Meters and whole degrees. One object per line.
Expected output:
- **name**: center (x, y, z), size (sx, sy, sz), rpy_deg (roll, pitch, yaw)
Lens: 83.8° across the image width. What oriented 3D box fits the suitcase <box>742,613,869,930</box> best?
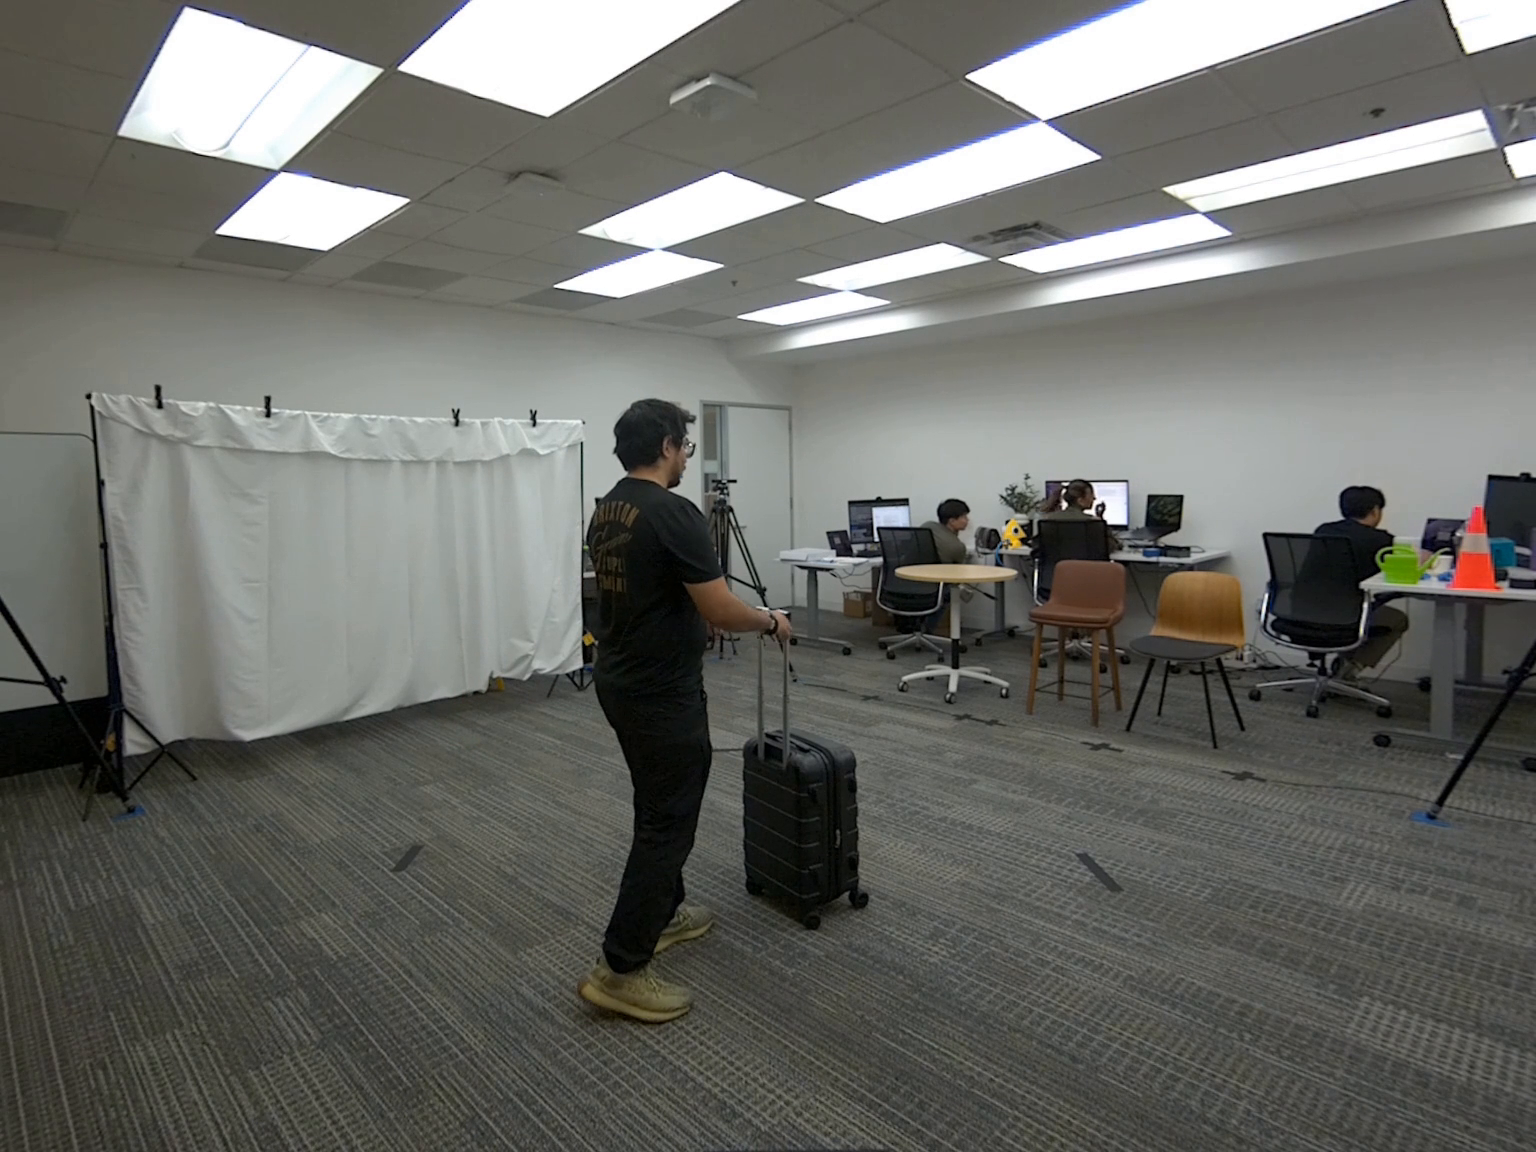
- **suitcase**: center (0.112, 0.598, 2.815), size (0.250, 0.975, 0.395), rpy_deg (-3, 5, -35)
